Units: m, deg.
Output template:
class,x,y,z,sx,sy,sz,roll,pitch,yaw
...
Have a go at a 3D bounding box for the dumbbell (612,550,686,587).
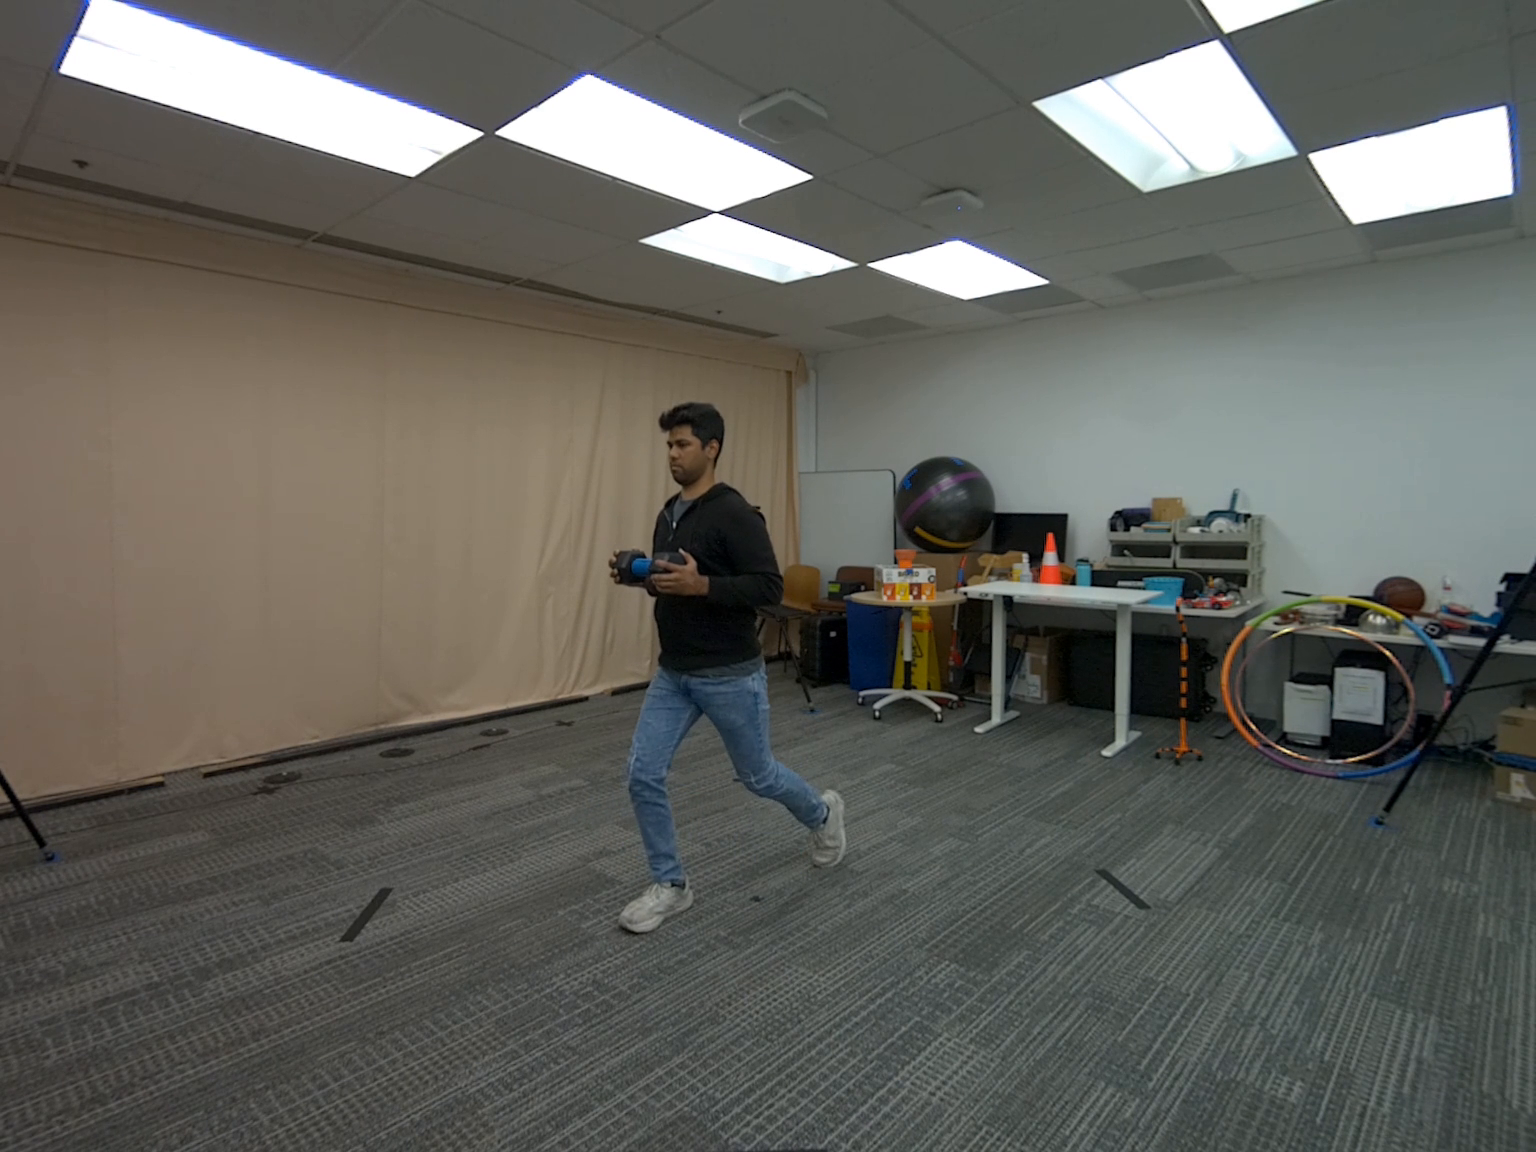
class,x,y,z,sx,sy,sz,roll,pitch,yaw
dumbbell,-0.381,-0.017,2.776,0.107,0.120,0.303,-39,26,-31
